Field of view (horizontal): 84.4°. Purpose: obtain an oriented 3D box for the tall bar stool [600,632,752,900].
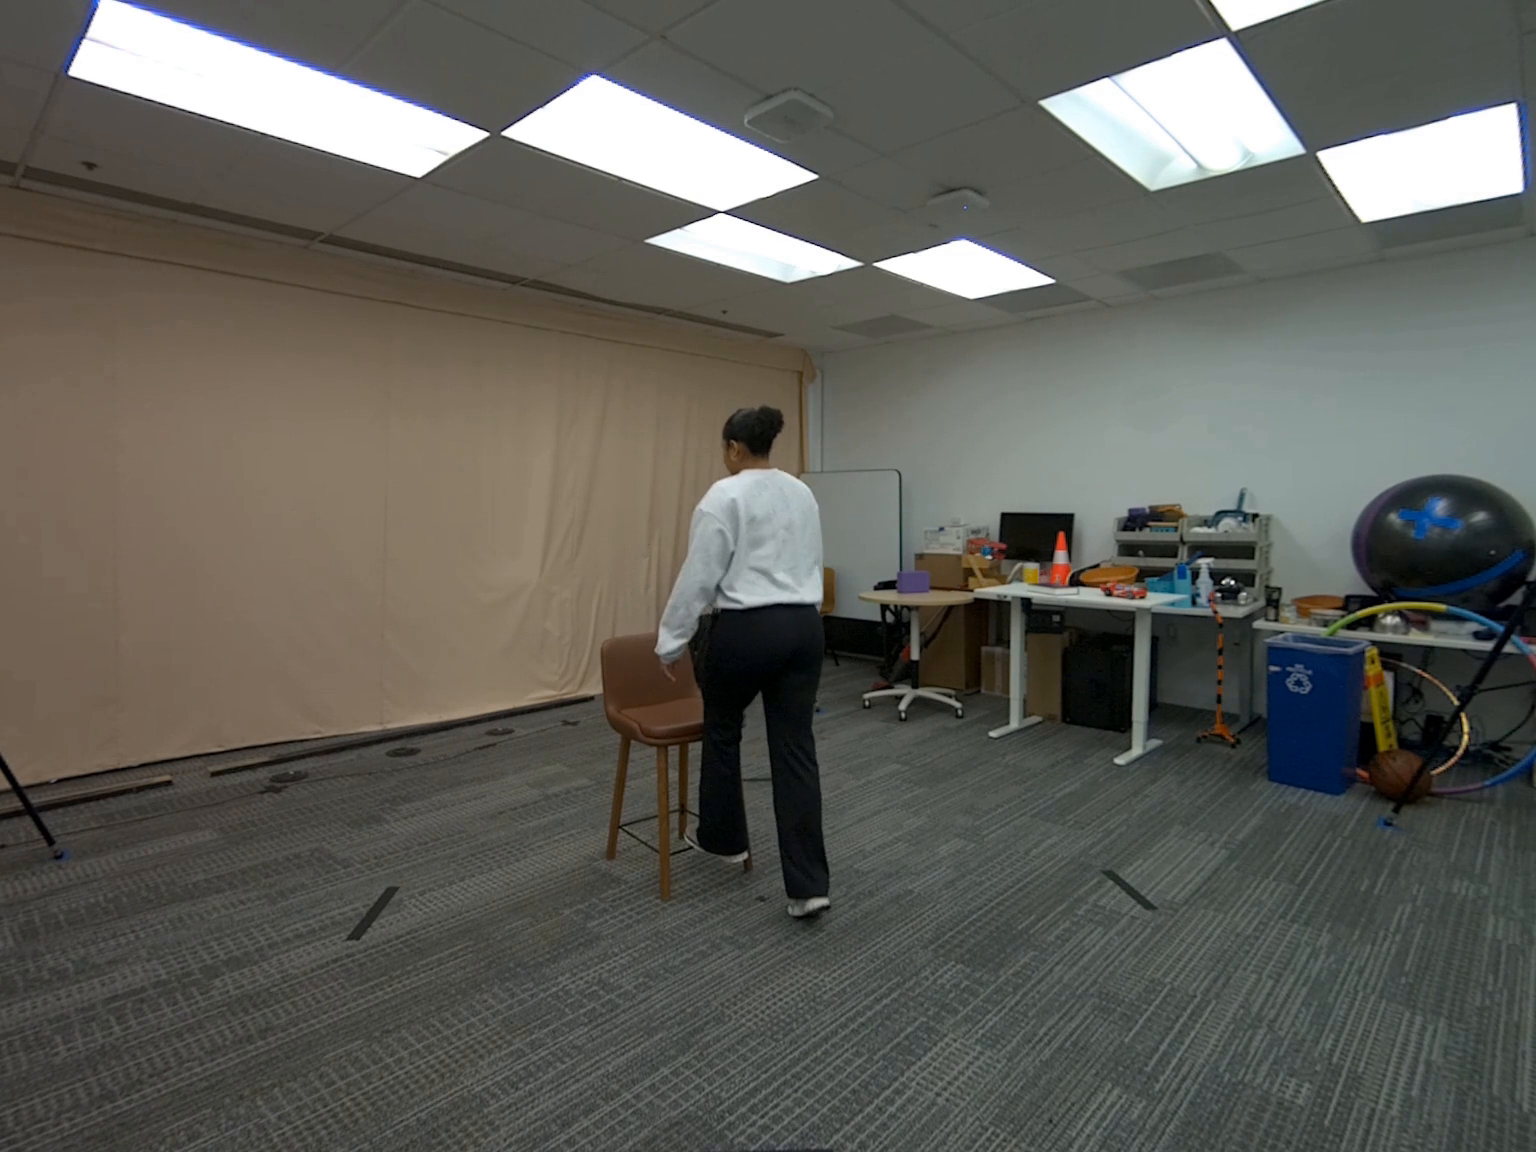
[{"bbox_3d":[-0.367,0.687,3.252,0.443,0.888,0.482,-4,3,-38],"label":"tall bar stool"}]
